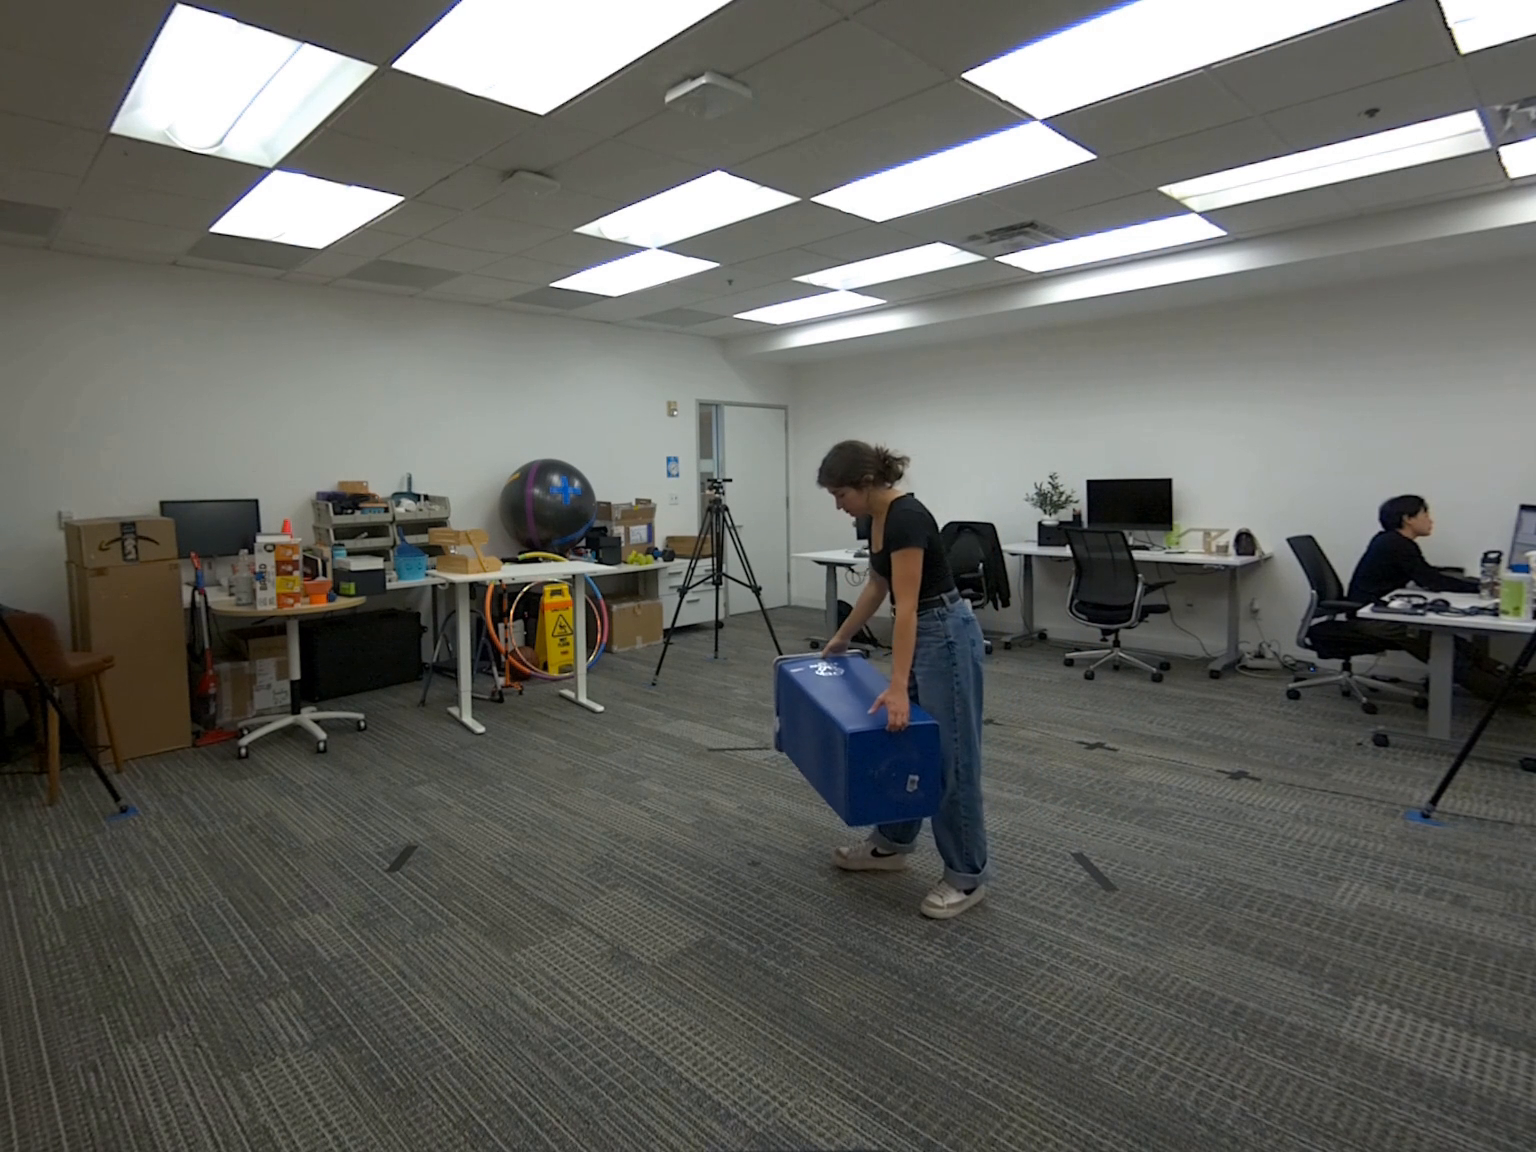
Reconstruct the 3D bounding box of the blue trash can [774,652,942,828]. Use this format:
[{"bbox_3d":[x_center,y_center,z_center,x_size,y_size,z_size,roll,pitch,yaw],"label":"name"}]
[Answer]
[{"bbox_3d":[0.287,0.541,2.908,0.373,0.371,0.729,-4,11,-14],"label":"blue trash can"}]
